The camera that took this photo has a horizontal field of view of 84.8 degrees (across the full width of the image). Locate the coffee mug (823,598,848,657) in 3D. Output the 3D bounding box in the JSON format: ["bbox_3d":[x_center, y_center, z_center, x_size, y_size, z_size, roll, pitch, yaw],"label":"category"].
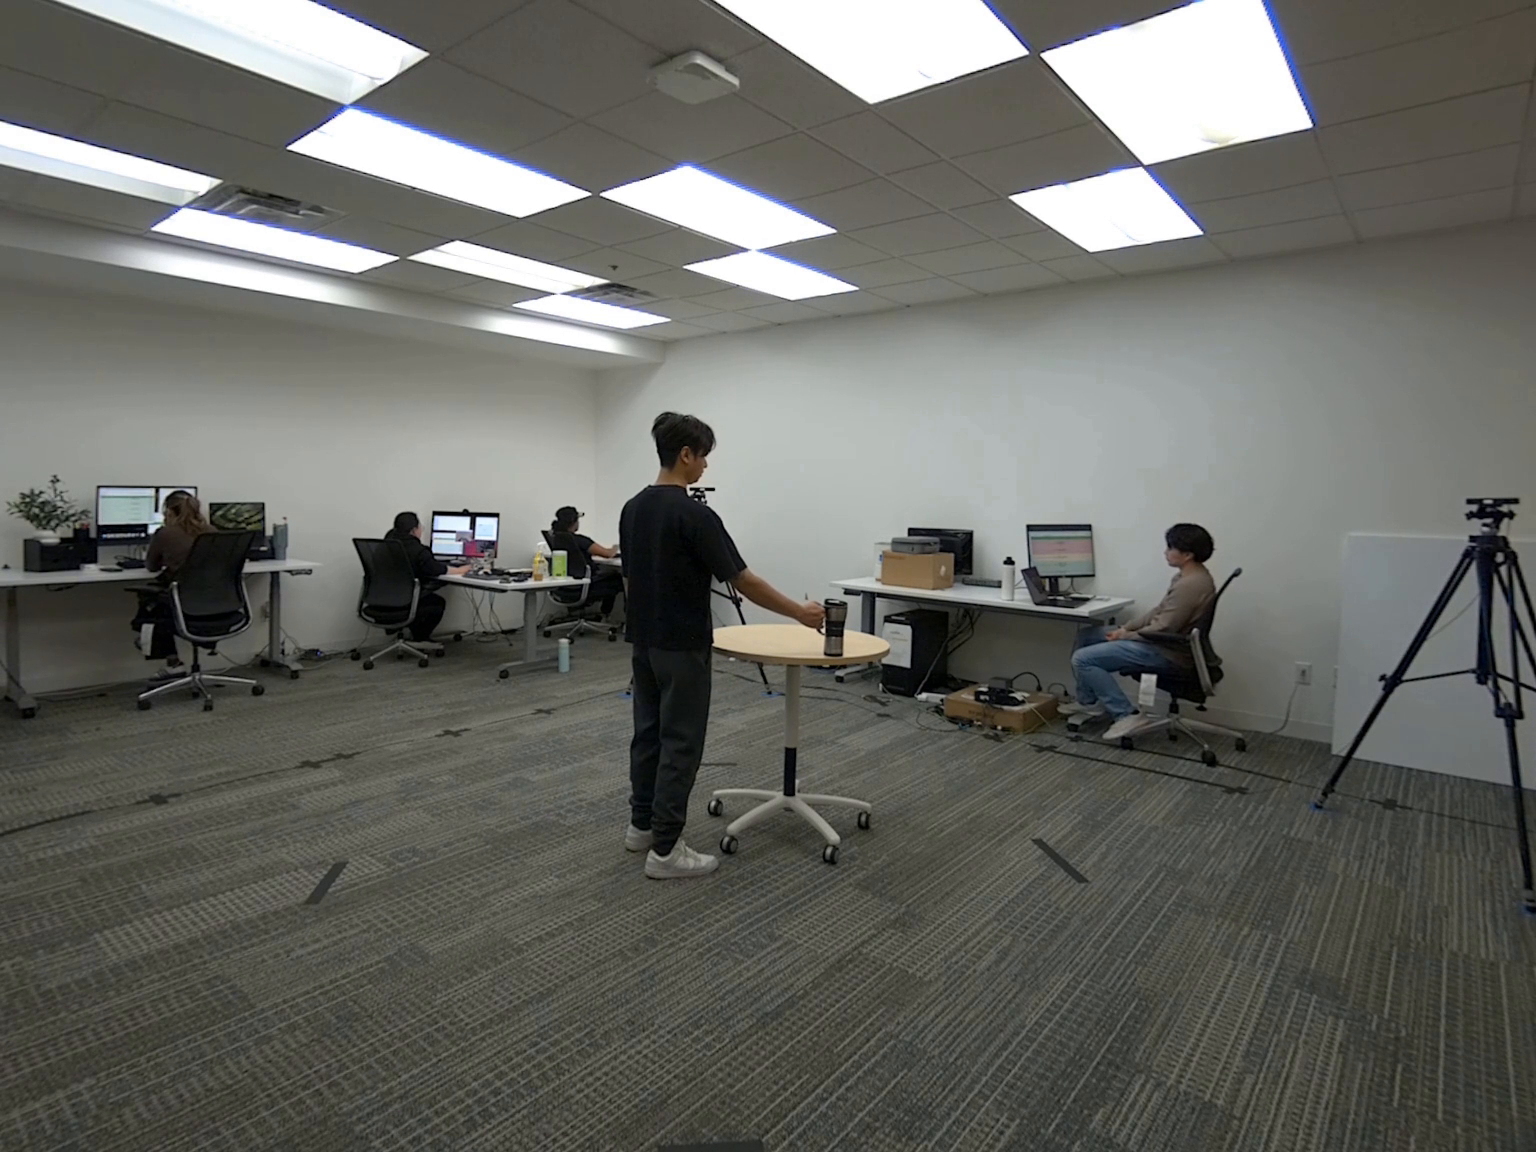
[{"bbox_3d":[0.224,0.192,3.154,0.126,0.202,0.085,7,9,35],"label":"coffee mug"}]
